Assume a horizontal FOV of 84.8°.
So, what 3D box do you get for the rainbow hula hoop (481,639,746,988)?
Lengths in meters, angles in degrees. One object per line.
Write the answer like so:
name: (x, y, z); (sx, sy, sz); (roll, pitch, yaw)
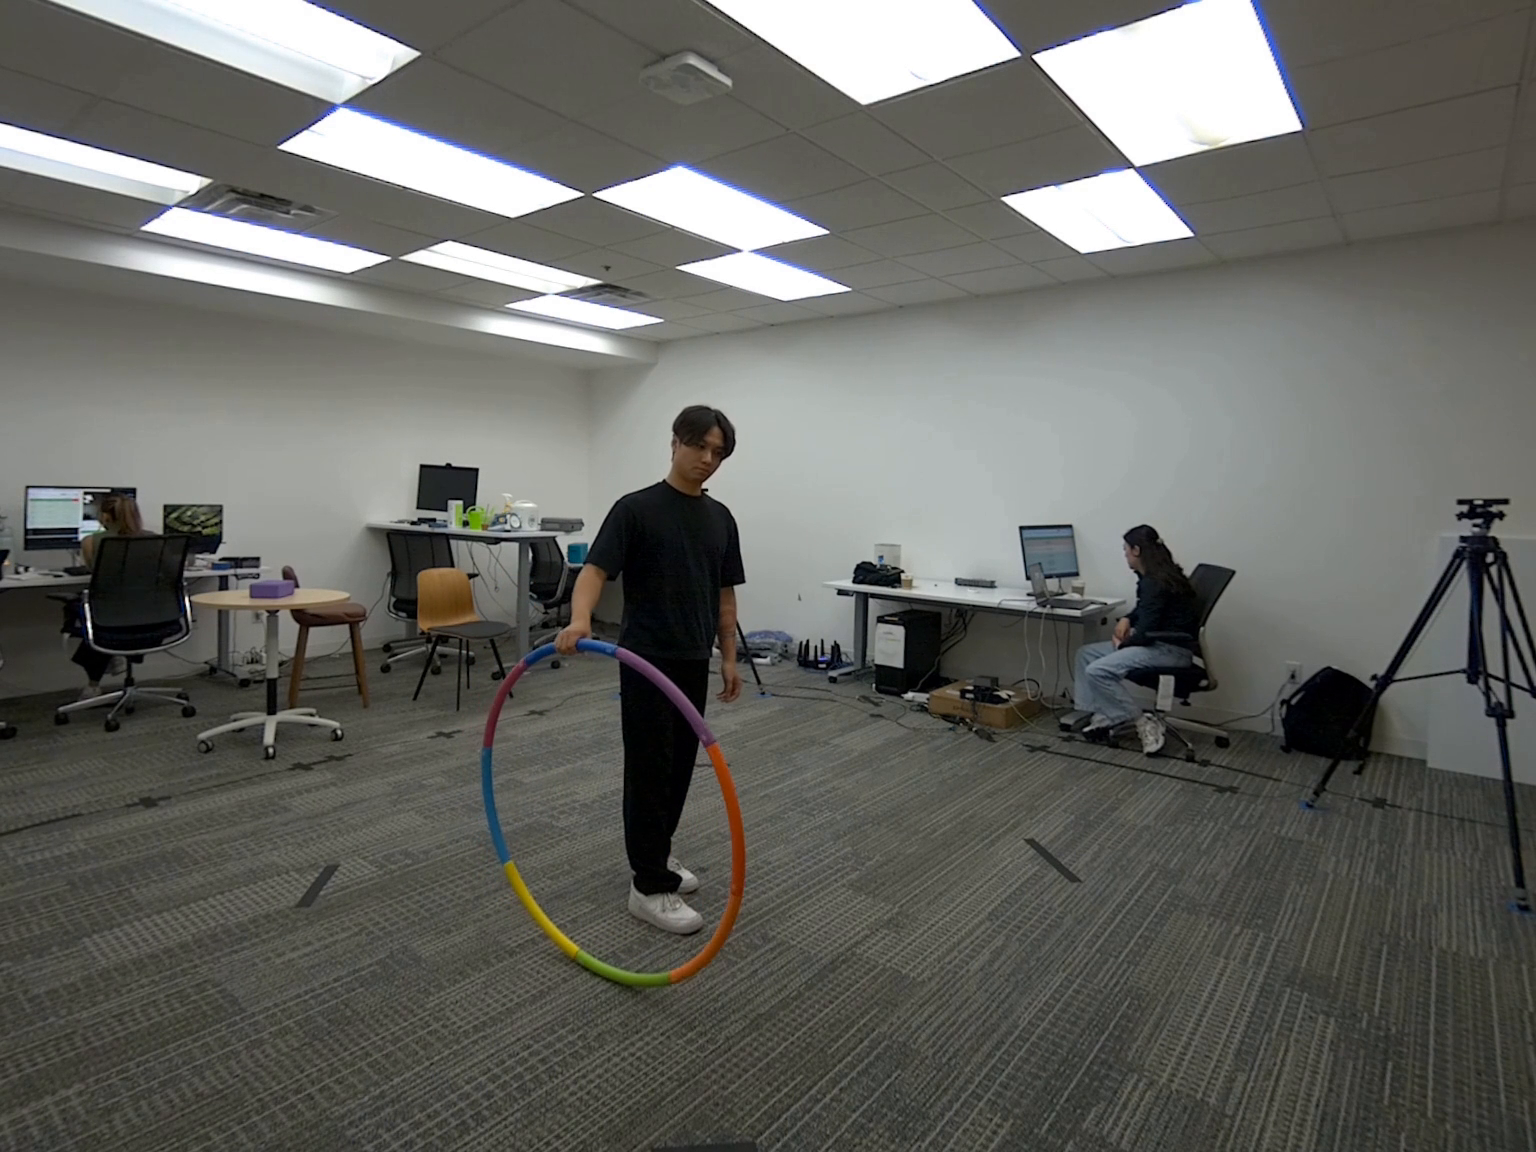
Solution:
rainbow hula hoop: (-0.482, 0.653, 2.383); (1.010, 0.973, 0.034); (4, 7, 35)
